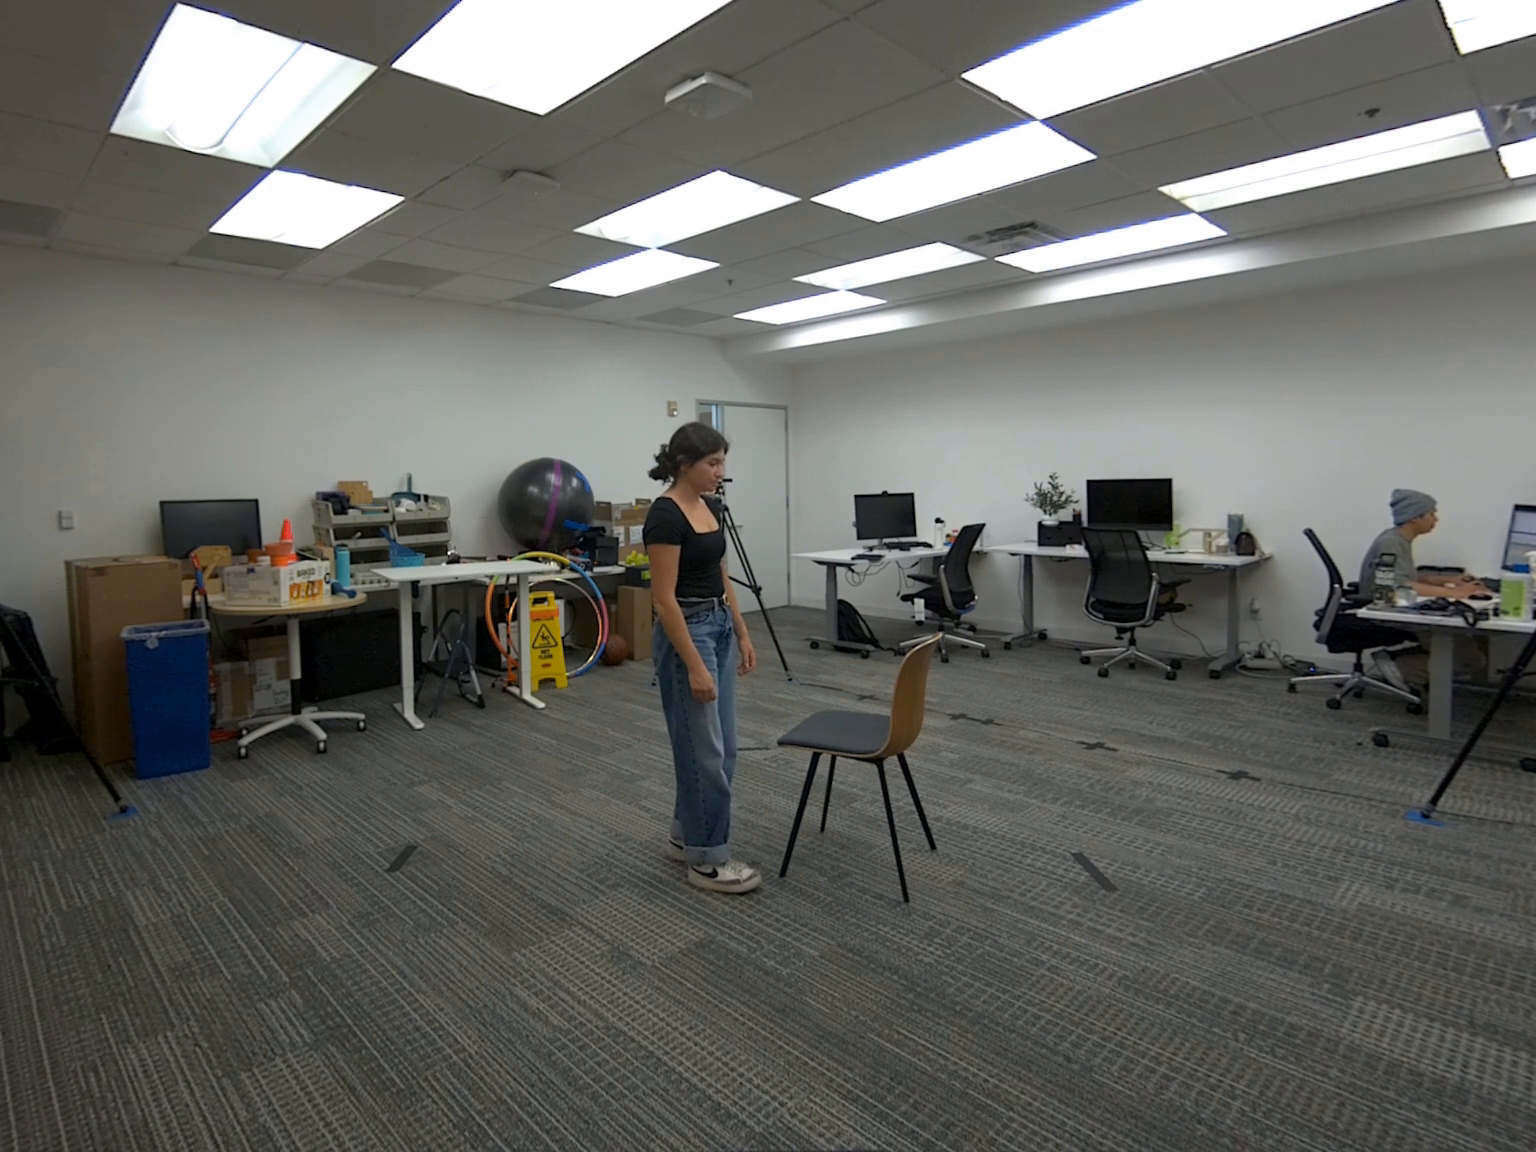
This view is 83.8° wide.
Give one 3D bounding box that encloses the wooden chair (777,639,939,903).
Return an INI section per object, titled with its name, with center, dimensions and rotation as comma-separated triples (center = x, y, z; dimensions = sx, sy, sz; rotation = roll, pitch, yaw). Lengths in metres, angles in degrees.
[wooden chair]
center = 0.317, 0.611, 3.064
dimensions = 0.536, 0.873, 0.469
rotation = 6, 7, 24
